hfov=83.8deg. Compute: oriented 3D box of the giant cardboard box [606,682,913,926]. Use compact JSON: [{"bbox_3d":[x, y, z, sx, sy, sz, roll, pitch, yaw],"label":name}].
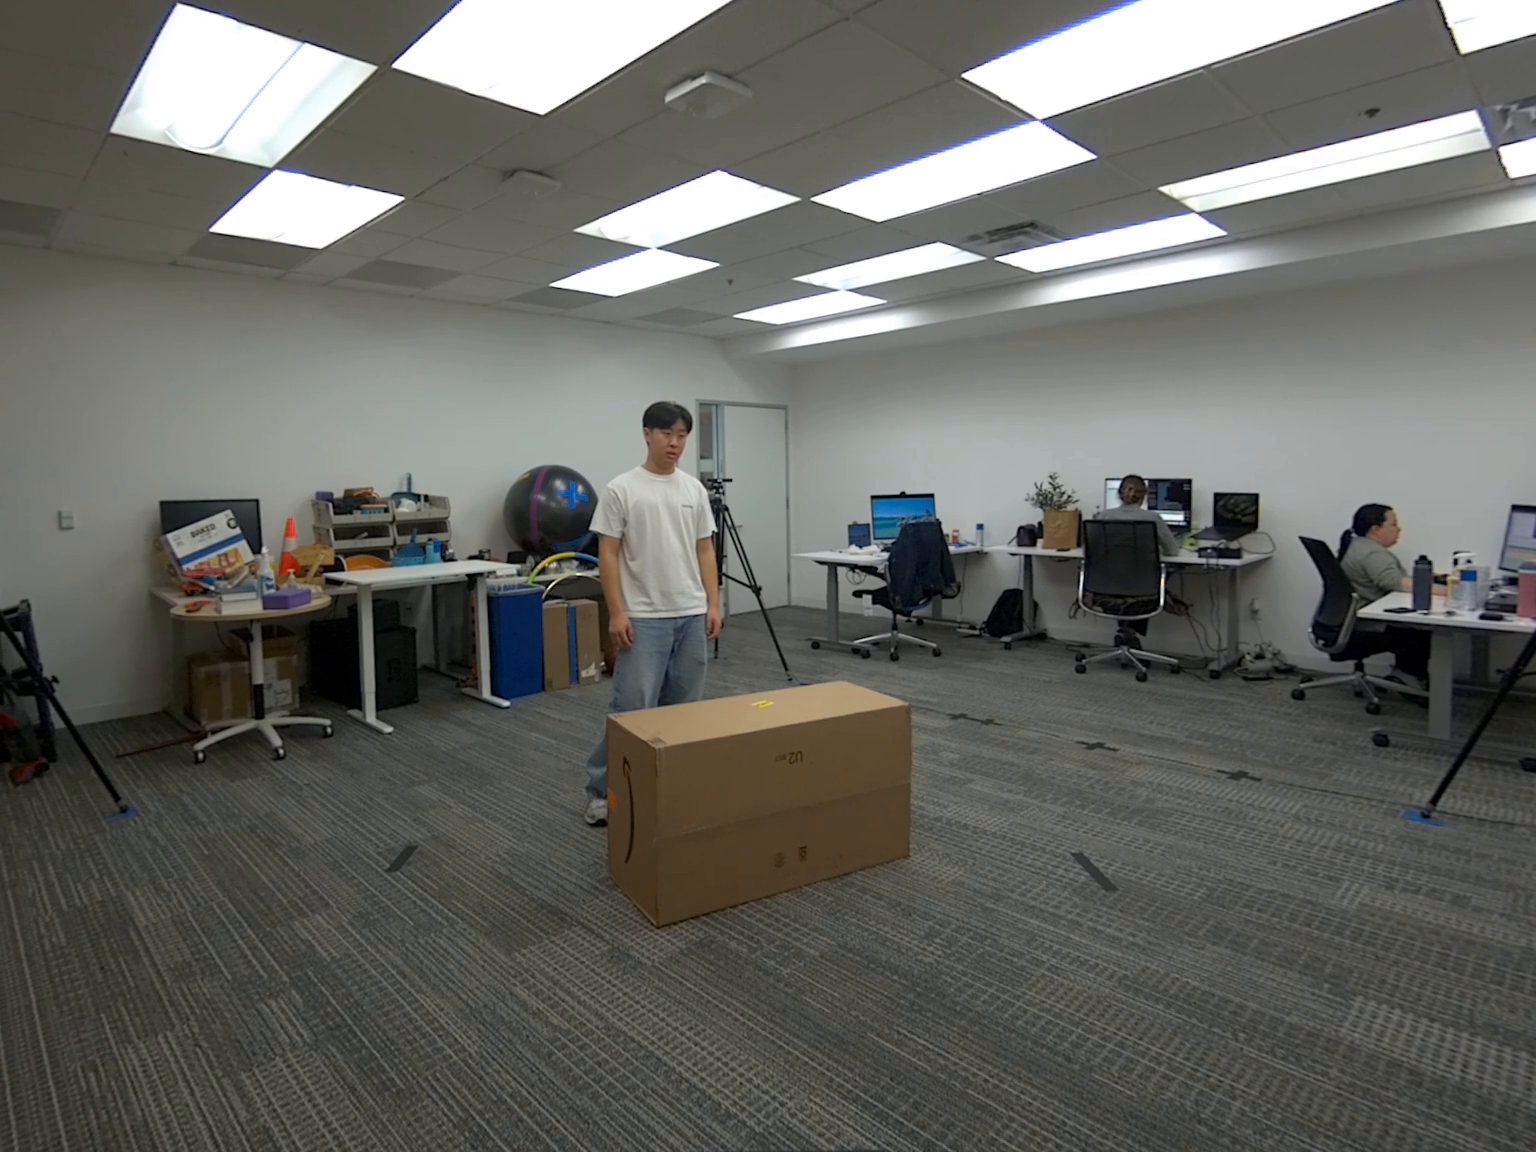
[{"bbox_3d":[-0.022,0.759,3.067,1.002,0.575,0.438,-4,6,-29],"label":"giant cardboard box"}]
